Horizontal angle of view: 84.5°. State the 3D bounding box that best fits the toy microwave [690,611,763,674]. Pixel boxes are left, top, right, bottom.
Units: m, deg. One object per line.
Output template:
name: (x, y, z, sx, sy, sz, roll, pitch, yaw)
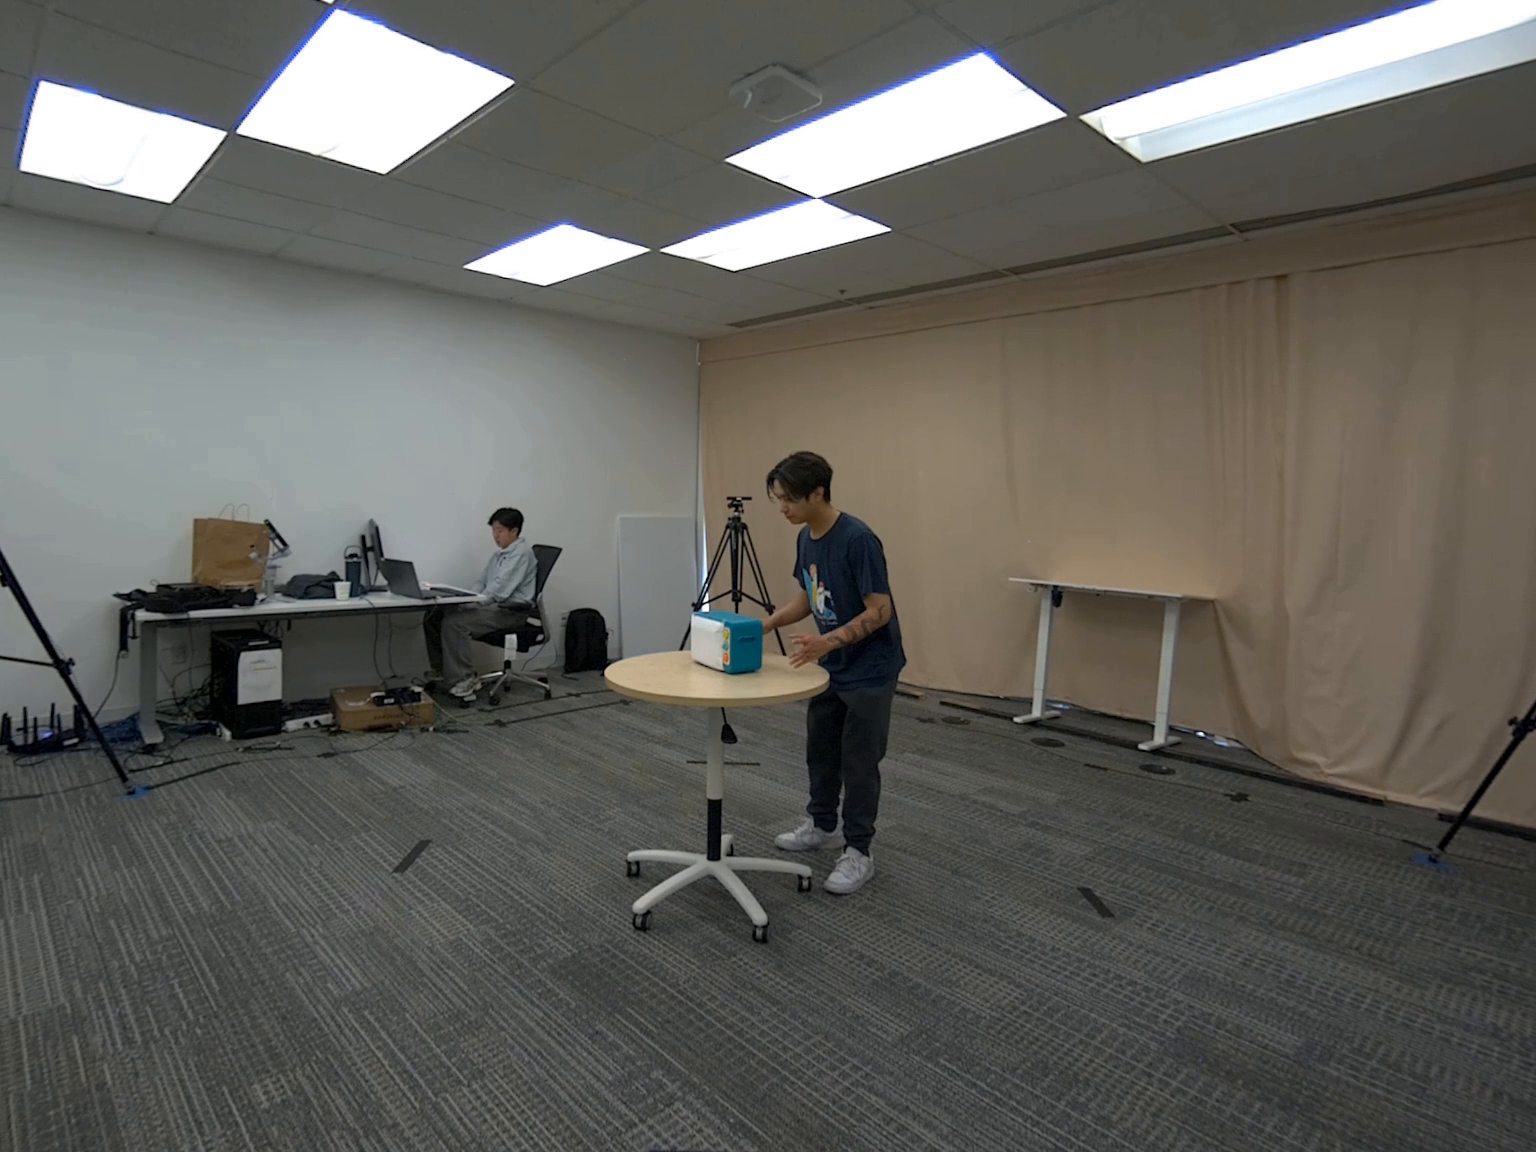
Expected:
toy microwave: (-0.154, 0.227, 2.953, 0.149, 0.183, 0.293, -2, 6, -32)
